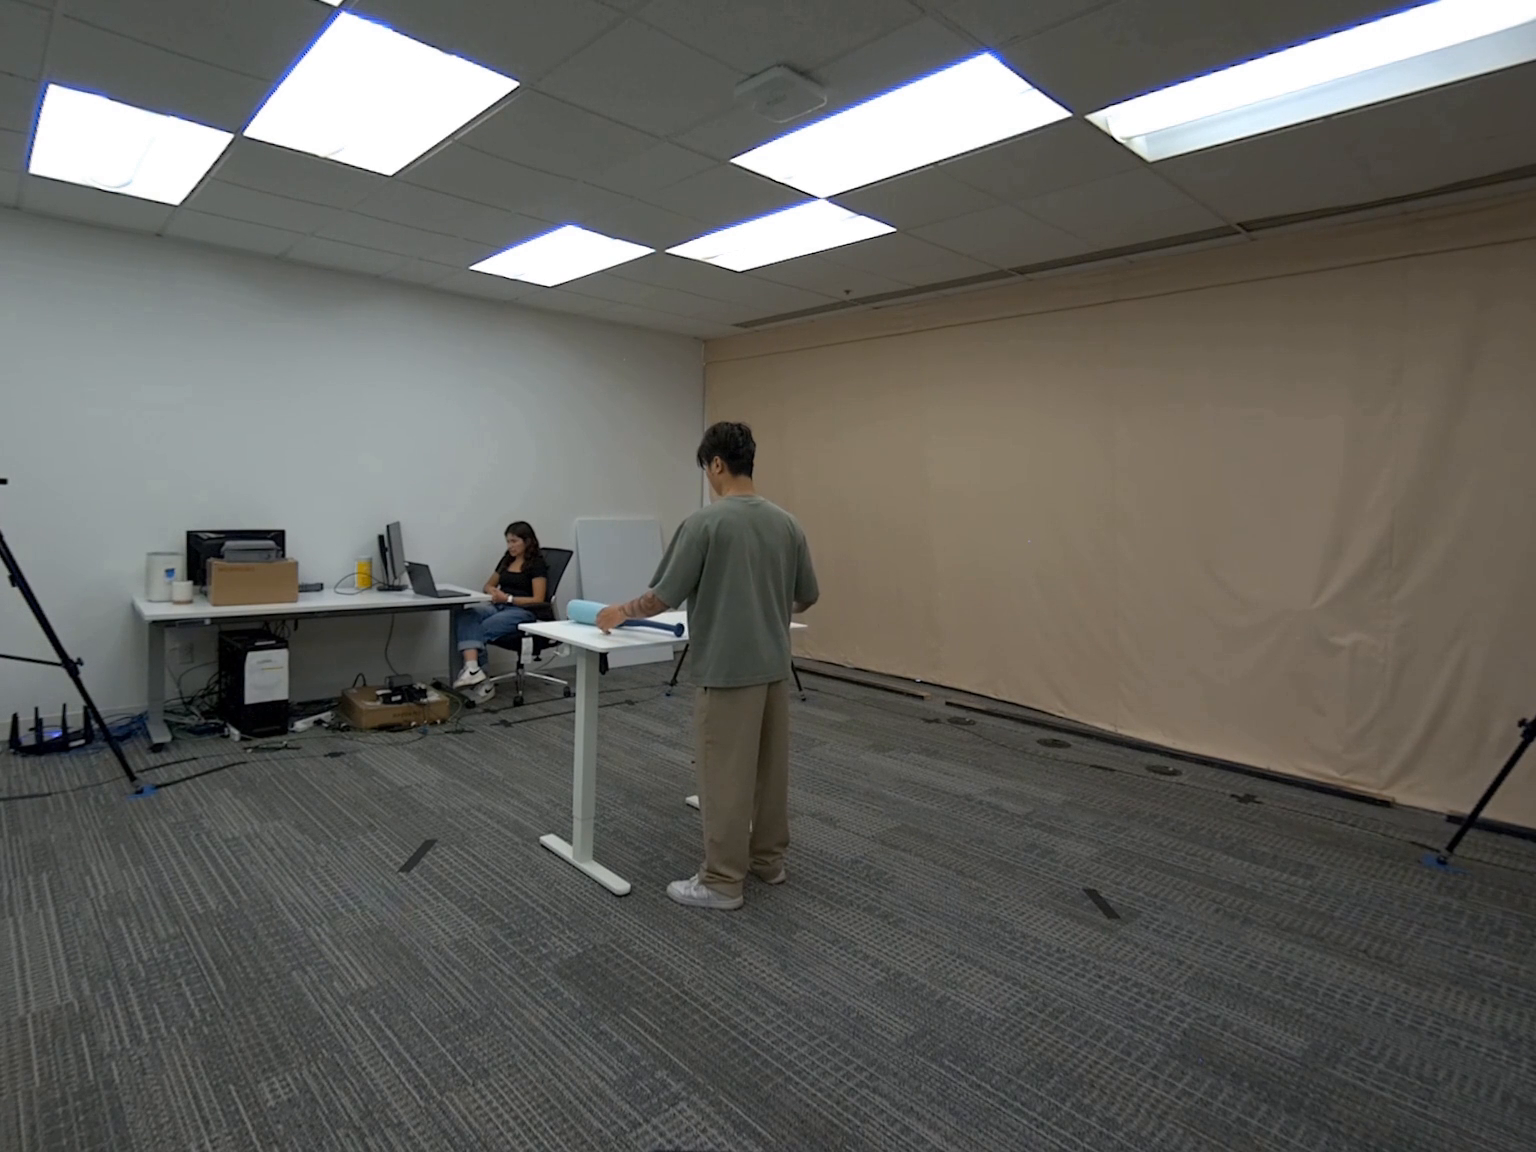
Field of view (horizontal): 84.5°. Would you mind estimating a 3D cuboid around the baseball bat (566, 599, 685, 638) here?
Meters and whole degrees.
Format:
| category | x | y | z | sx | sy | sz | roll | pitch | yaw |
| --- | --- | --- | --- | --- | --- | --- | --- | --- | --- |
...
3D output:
| category | x | y | z | sx | sy | sz | roll | pitch | yaw |
| --- | --- | --- | --- | --- | --- | --- | --- | --- | --- |
| baseball bat | -0.551 | 0.166 | 3.218 | 0.556 | 0.089 | 0.087 | 8 | 7 | 30 |
